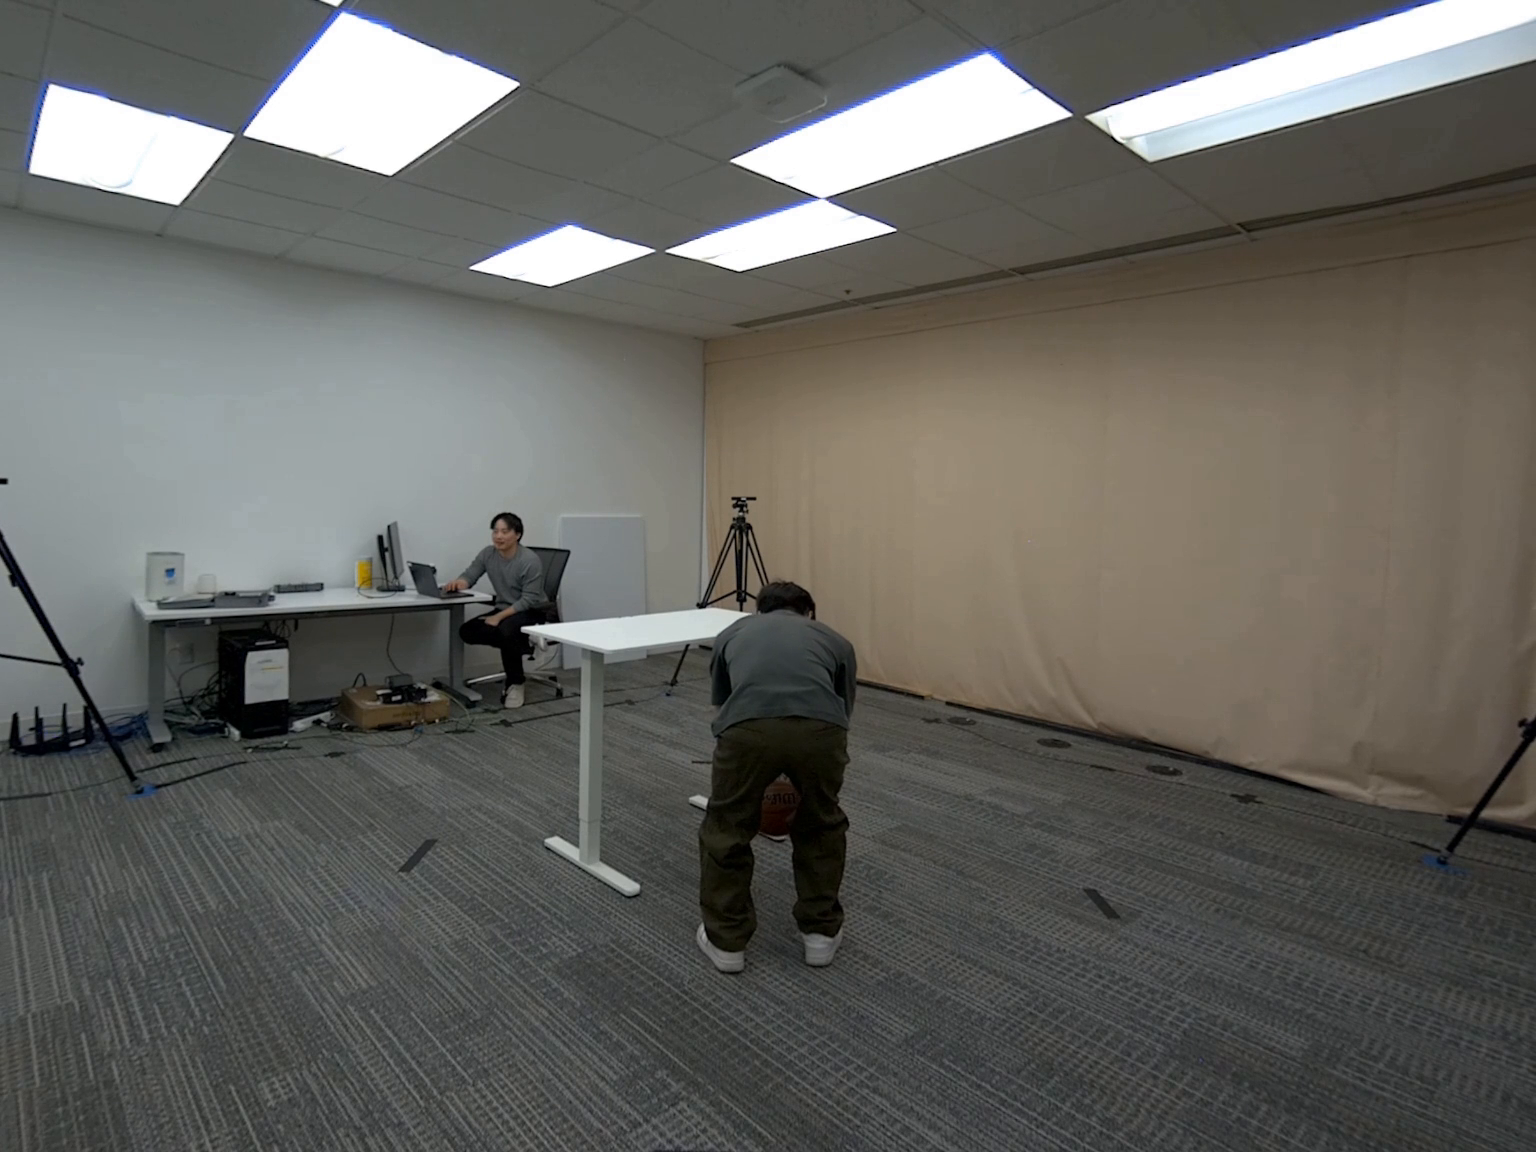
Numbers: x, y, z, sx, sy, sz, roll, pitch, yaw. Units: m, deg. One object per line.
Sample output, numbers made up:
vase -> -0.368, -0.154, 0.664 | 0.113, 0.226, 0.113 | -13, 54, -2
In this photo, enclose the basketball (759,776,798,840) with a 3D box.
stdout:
basketball -> 0.023, 0.796, 2.968 | 0.236, 0.235, 0.237 | 1, 4, -1
